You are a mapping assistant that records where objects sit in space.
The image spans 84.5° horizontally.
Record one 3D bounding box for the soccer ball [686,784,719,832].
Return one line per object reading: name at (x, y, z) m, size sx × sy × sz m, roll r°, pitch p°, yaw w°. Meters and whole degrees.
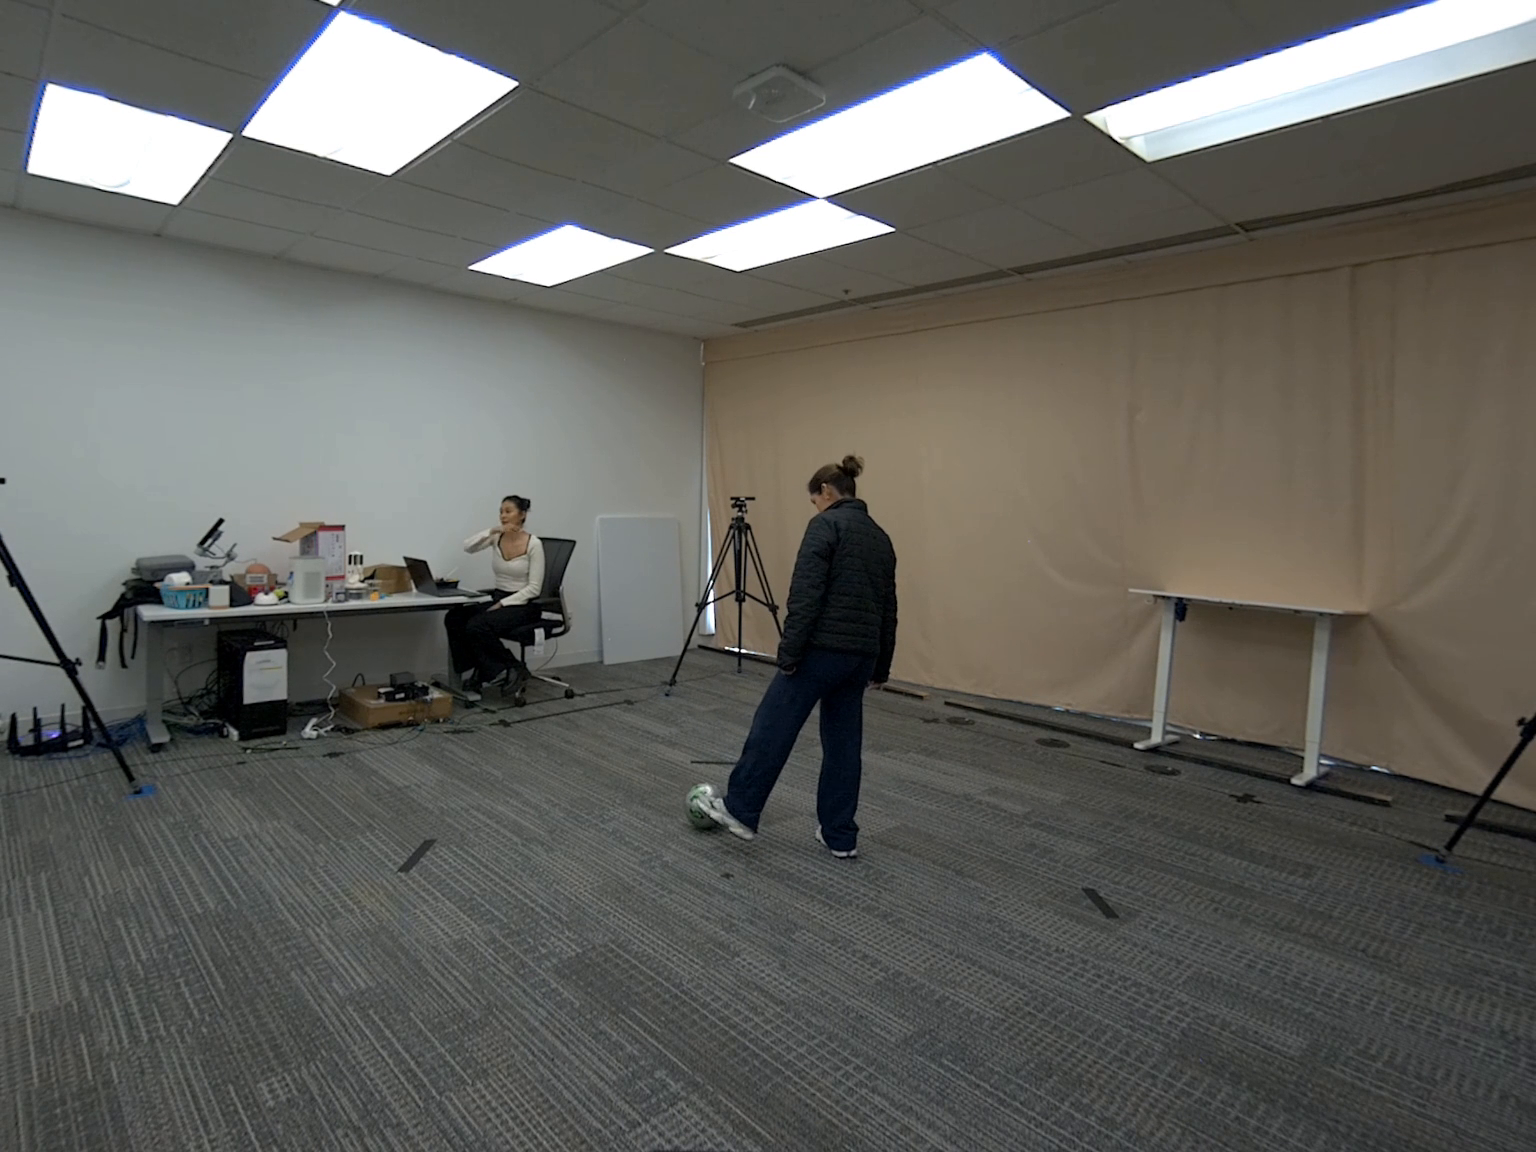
soccer ball at (-0.266, 0.970, 3.559) m, size 0.187 × 0.187 × 0.188 m, roll 1°, pitch 4°, yaw -1°
